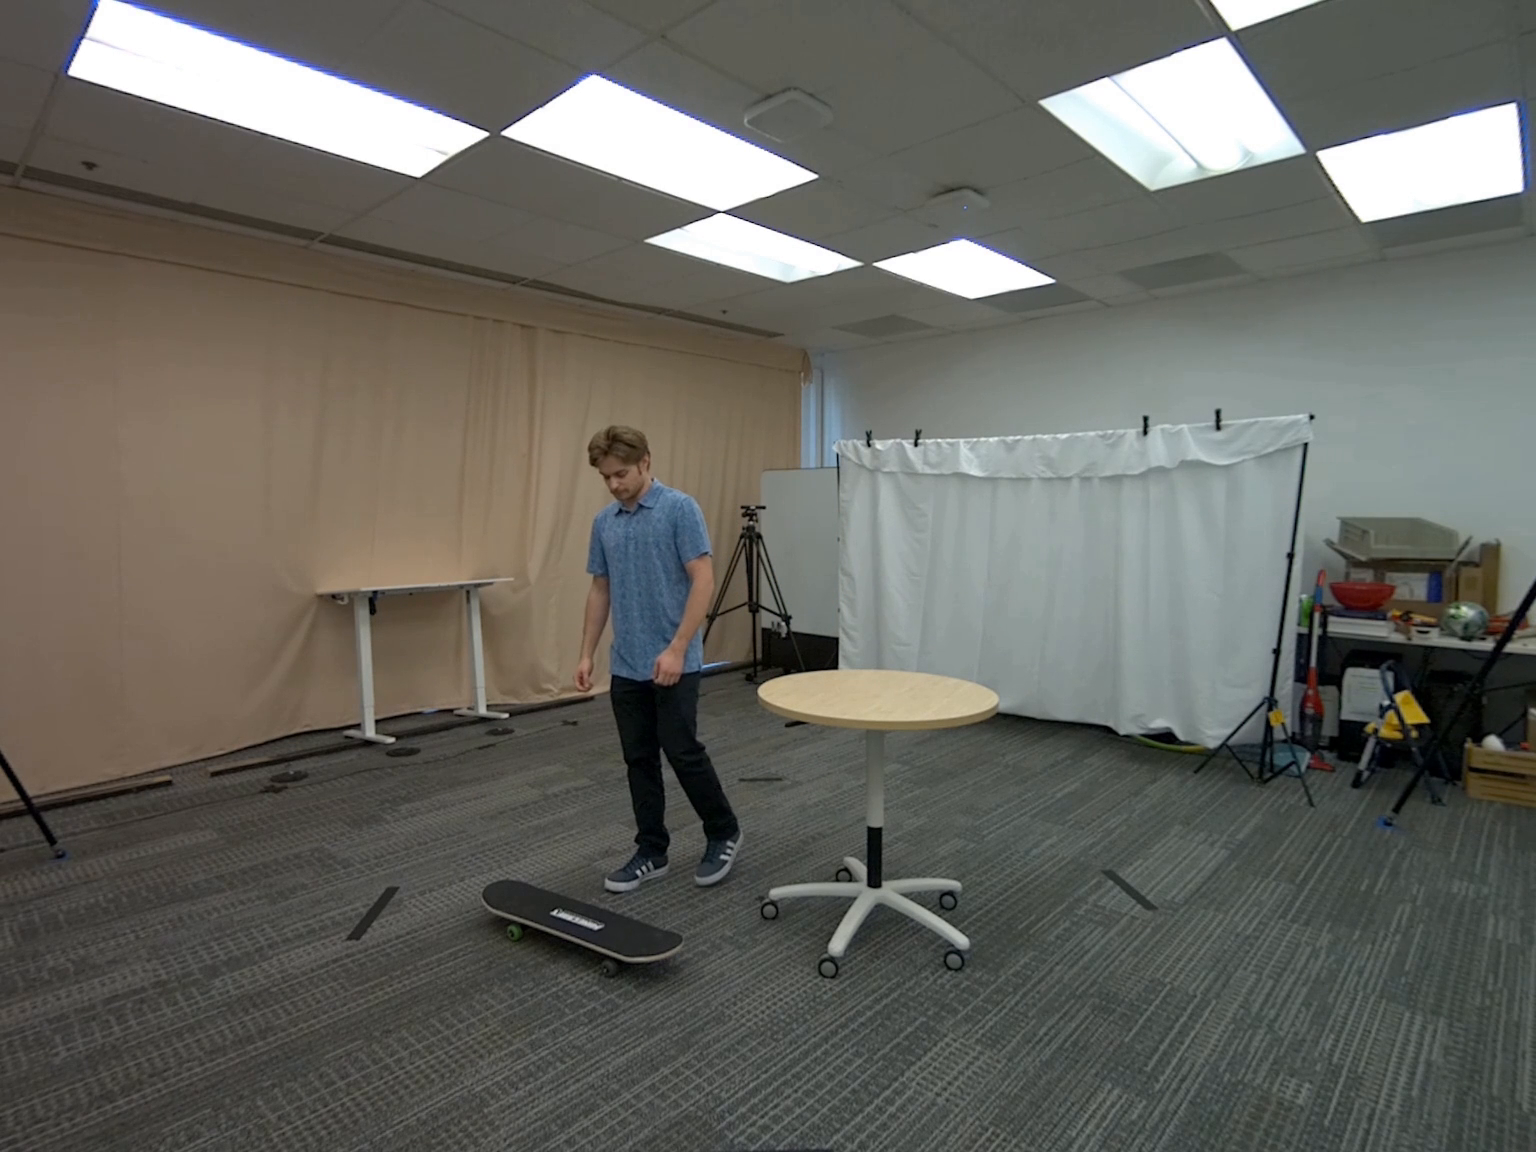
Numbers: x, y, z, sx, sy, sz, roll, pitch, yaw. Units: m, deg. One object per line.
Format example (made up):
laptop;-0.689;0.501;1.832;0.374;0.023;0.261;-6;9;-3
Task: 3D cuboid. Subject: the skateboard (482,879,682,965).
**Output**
skateboard;-0.602;1.114;2.663;0.808;0.110;0.188;2;5;31
